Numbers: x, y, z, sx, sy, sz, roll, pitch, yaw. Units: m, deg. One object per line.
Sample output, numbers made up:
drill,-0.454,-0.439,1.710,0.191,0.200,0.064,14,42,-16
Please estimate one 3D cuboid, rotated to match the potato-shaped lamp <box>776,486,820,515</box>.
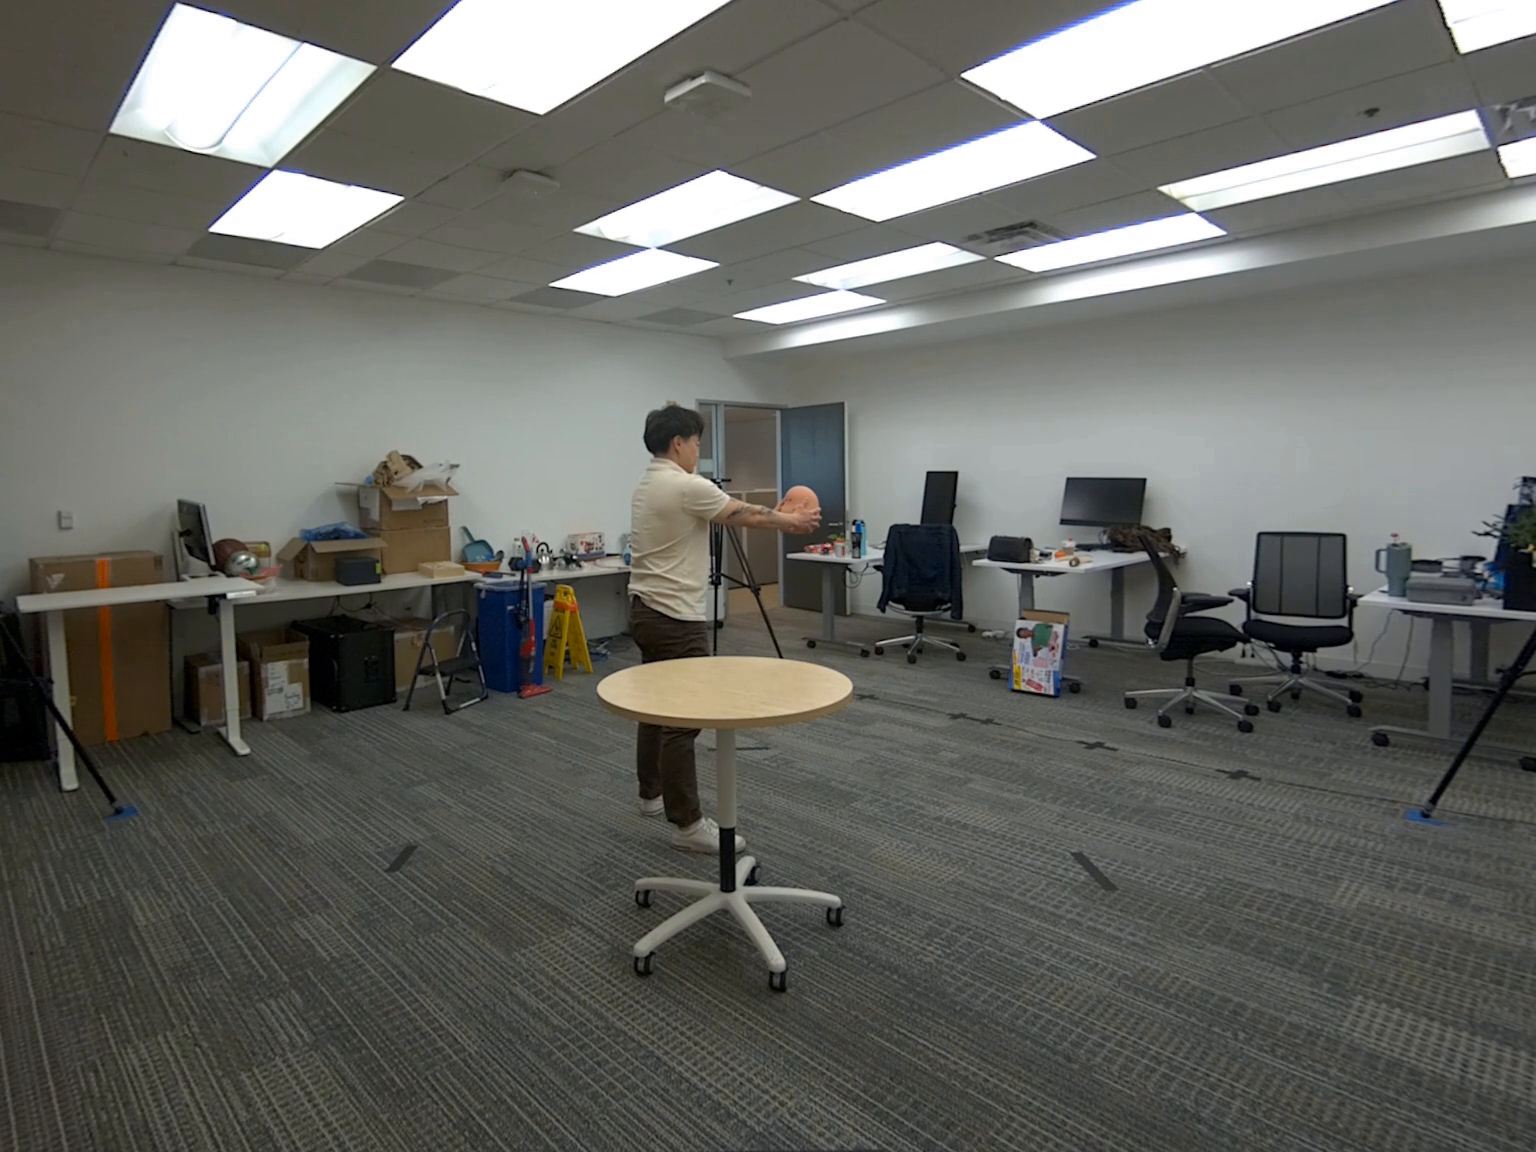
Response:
potato-shaped lamp,0.127,-0.283,3.632,0.167,0.196,0.170,4,11,-25
